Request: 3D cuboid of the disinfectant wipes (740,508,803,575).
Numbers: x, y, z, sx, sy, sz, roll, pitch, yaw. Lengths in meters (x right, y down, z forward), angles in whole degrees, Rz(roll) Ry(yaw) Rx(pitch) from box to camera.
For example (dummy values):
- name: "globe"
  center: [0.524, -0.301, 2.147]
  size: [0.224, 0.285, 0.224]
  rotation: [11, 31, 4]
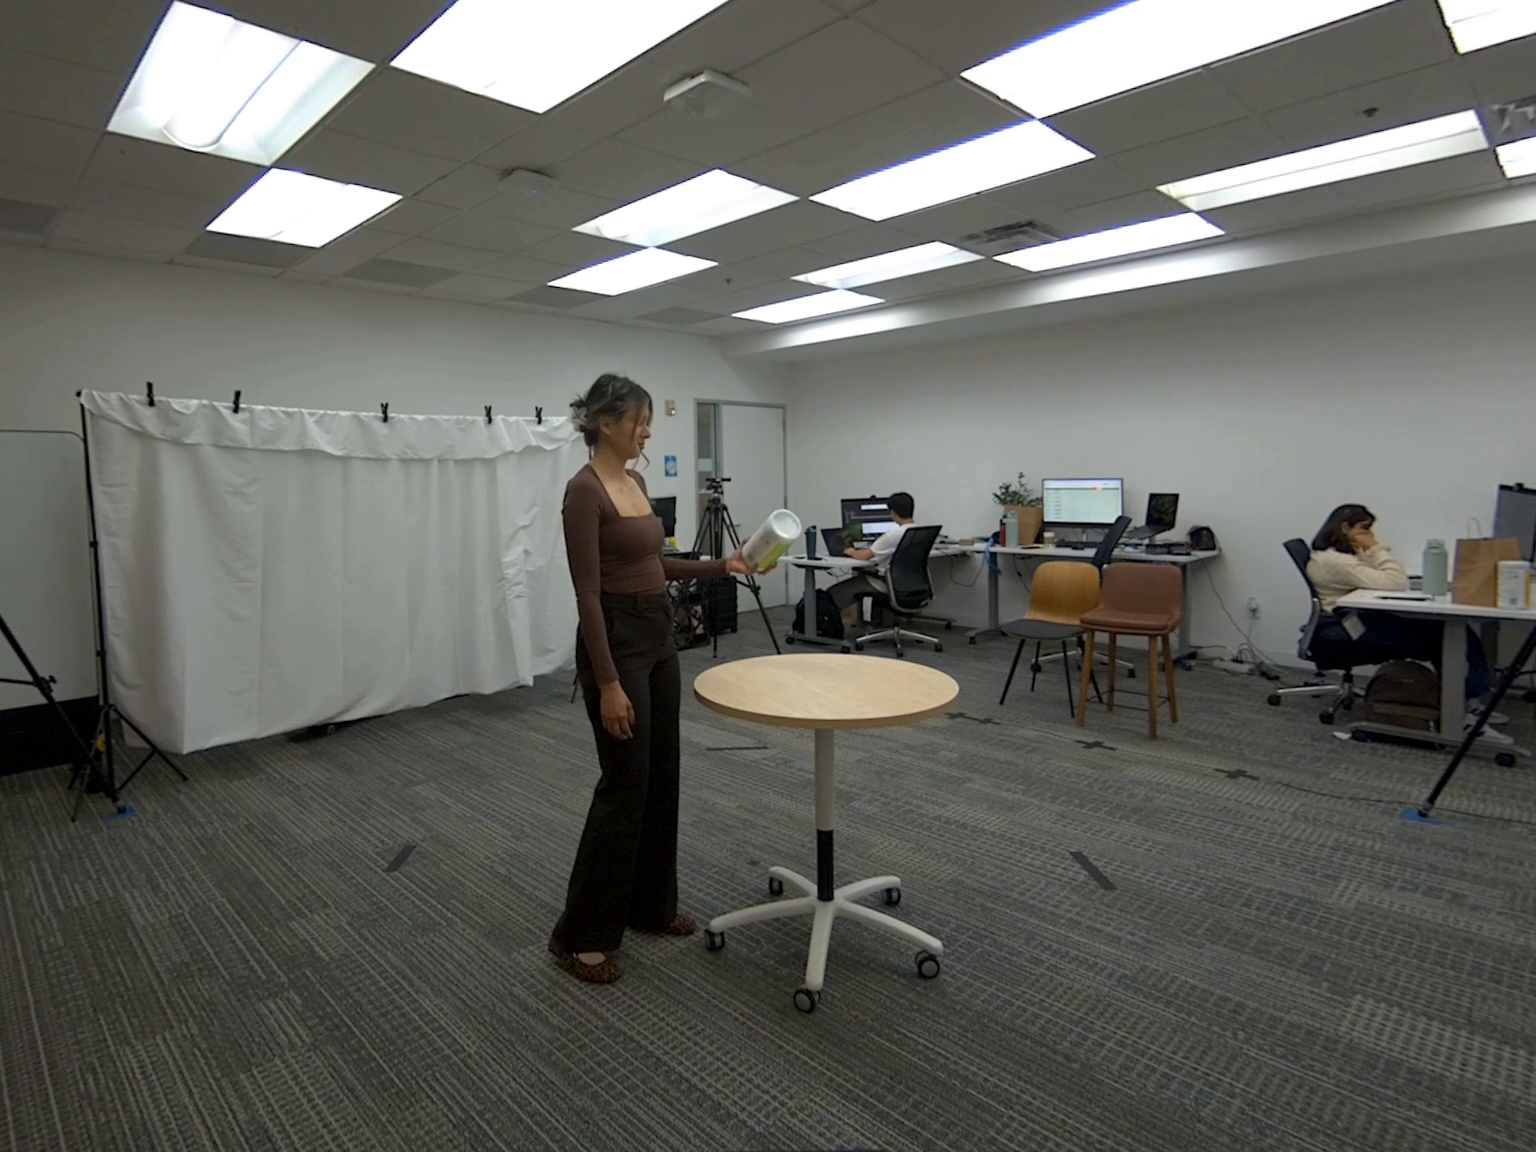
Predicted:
- name: "disinfectant wipes"
  center: [0.007, -0.106, 2.649]
  size: [0.115, 0.121, 0.217]
  rotation: [-3, -26, -29]
